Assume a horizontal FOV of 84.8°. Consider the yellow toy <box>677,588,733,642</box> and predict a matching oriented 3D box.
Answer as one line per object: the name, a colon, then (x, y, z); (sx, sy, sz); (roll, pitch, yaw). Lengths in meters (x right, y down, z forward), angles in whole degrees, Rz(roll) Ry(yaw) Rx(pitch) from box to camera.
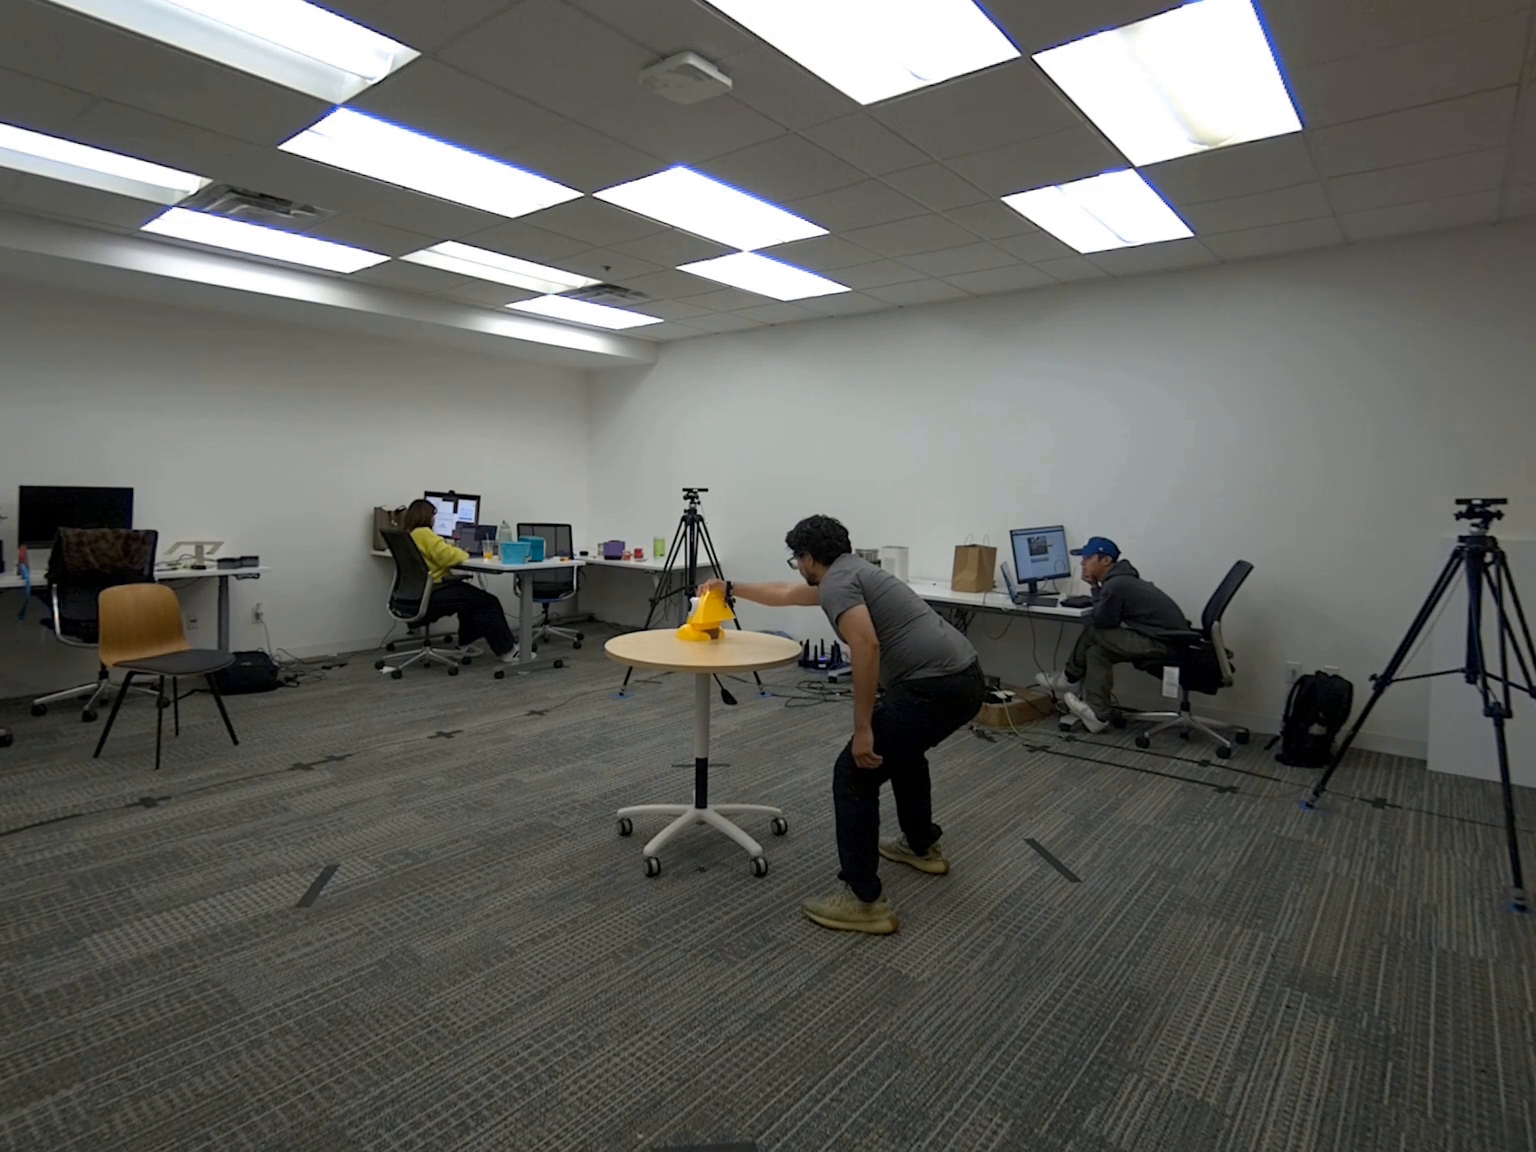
yellow toy: (-0.278, 0.133, 3.485); (0.199, 0.230, 0.199); (4, 5, 39)
